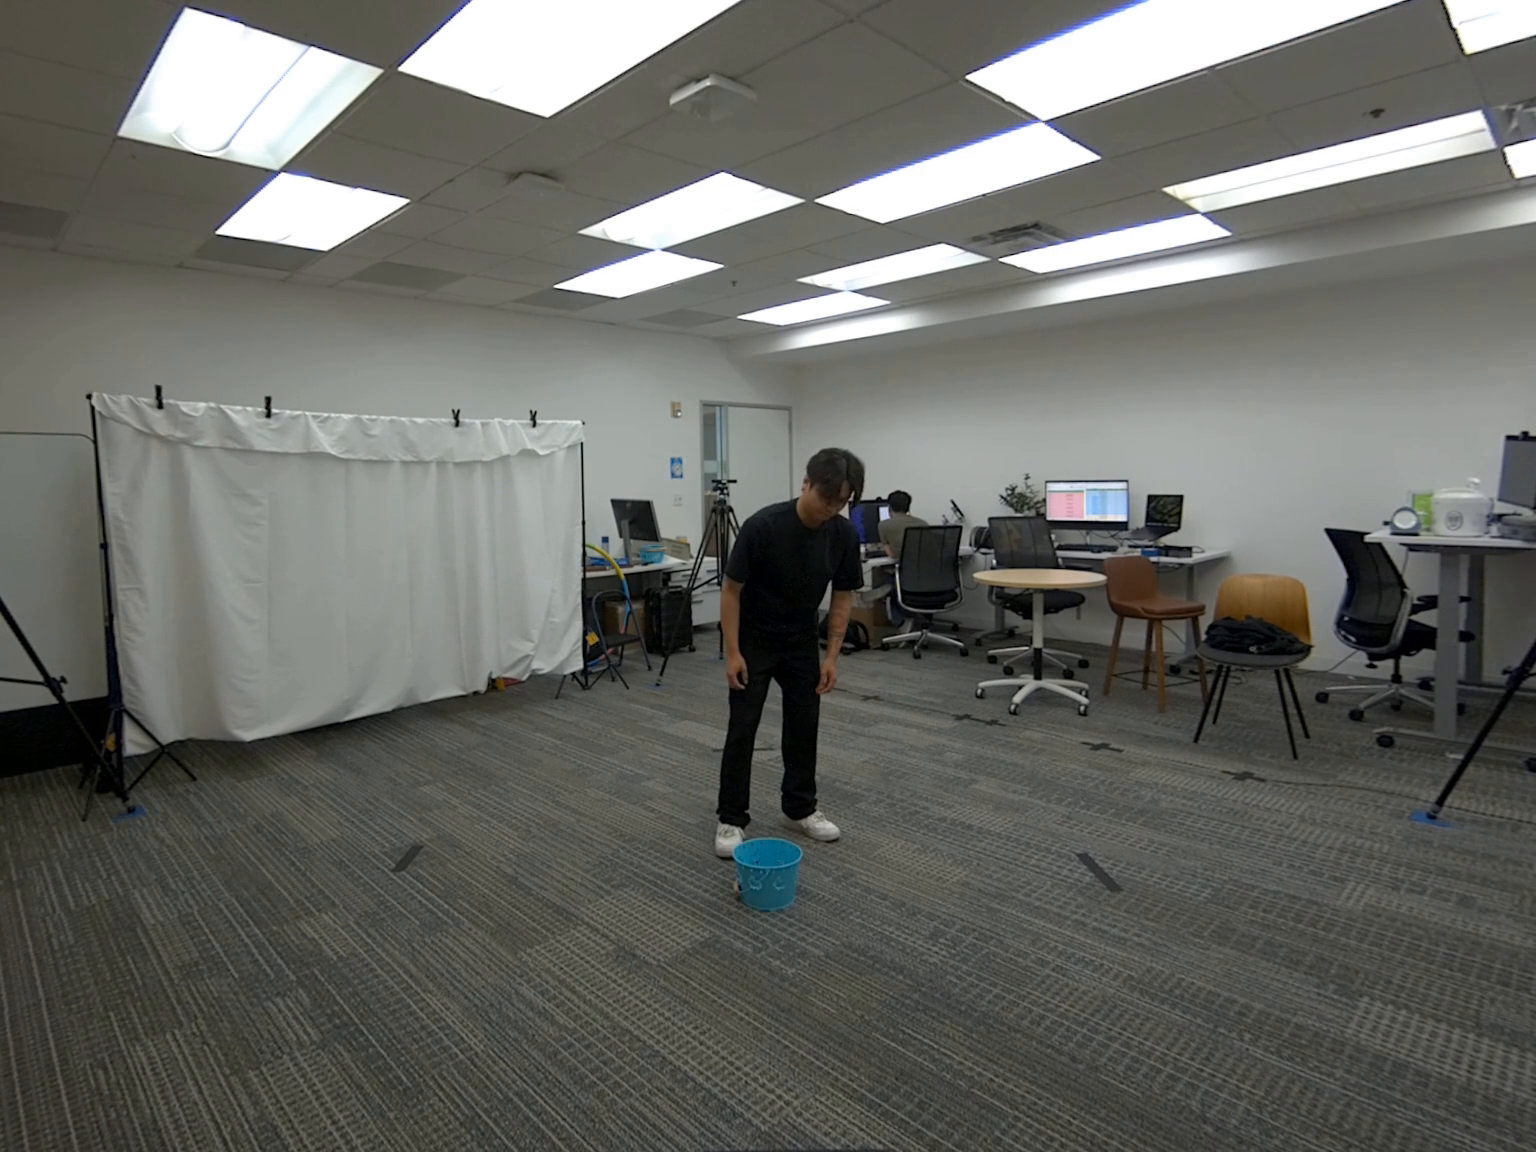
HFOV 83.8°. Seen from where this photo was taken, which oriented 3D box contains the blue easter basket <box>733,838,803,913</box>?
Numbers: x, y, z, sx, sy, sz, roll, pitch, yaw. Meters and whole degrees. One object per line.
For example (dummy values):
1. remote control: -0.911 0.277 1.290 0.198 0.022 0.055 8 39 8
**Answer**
1. blue easter basket: 0.001 0.996 2.859 0.243 0.155 0.245 -1 6 -2
